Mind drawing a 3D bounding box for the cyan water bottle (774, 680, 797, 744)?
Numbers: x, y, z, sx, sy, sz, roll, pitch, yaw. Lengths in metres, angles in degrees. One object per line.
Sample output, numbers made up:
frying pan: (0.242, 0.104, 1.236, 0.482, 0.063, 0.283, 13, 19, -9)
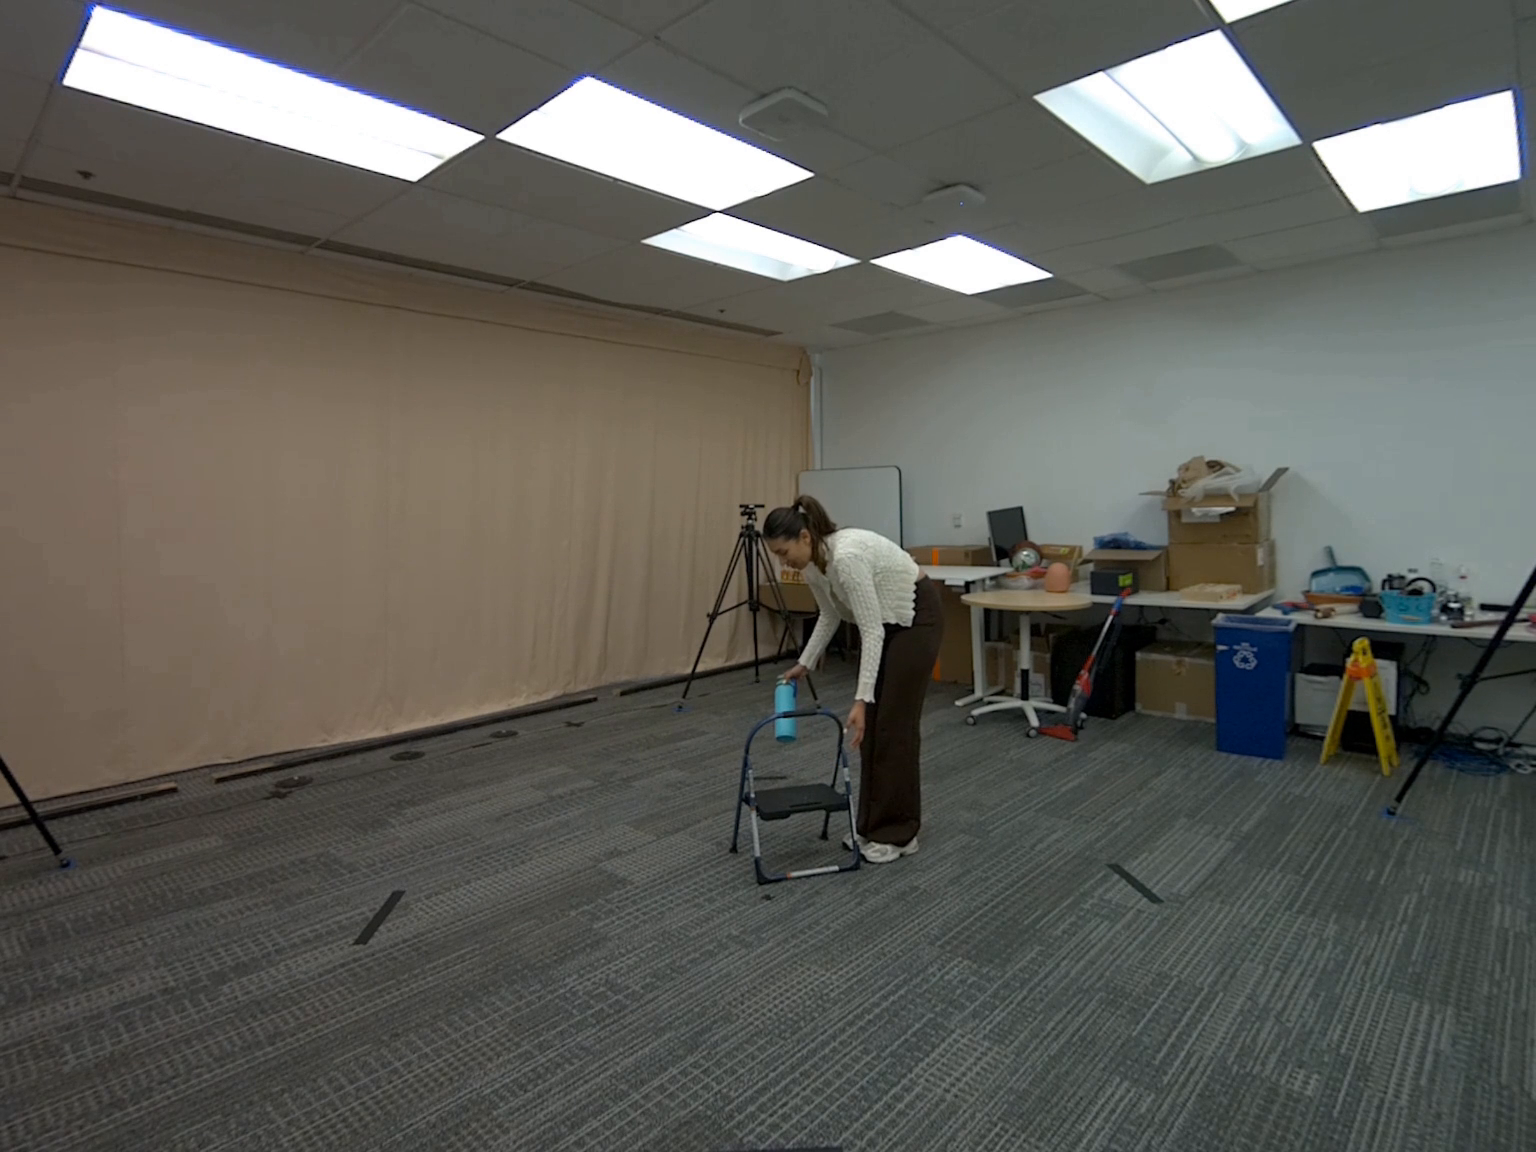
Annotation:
cyan water bottle: (0.084, 0.563, 3.554, 0.092, 0.288, 0.091, 2, -32, -1)
